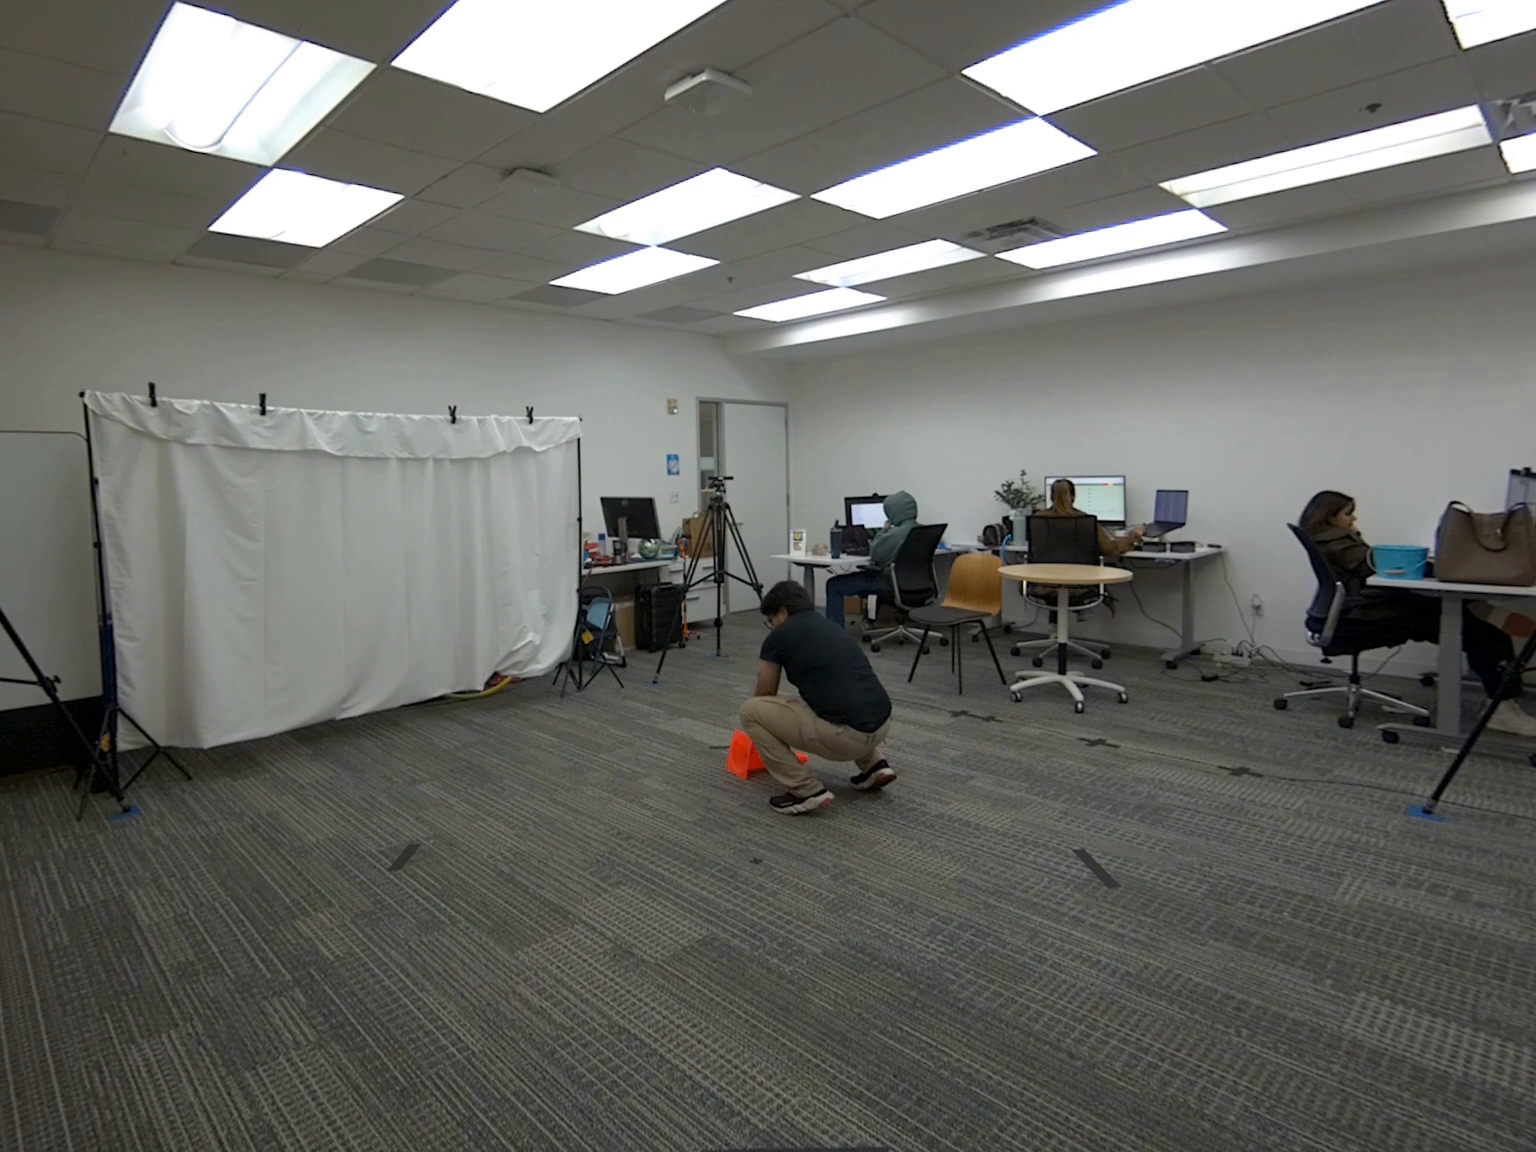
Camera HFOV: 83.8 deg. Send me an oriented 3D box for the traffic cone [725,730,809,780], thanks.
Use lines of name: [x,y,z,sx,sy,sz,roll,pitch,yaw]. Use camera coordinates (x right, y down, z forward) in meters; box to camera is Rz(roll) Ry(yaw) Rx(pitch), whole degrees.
traffic cone: [0.026,0.872,4.115,0.373,0.204,0.210,13,-3,-26]
